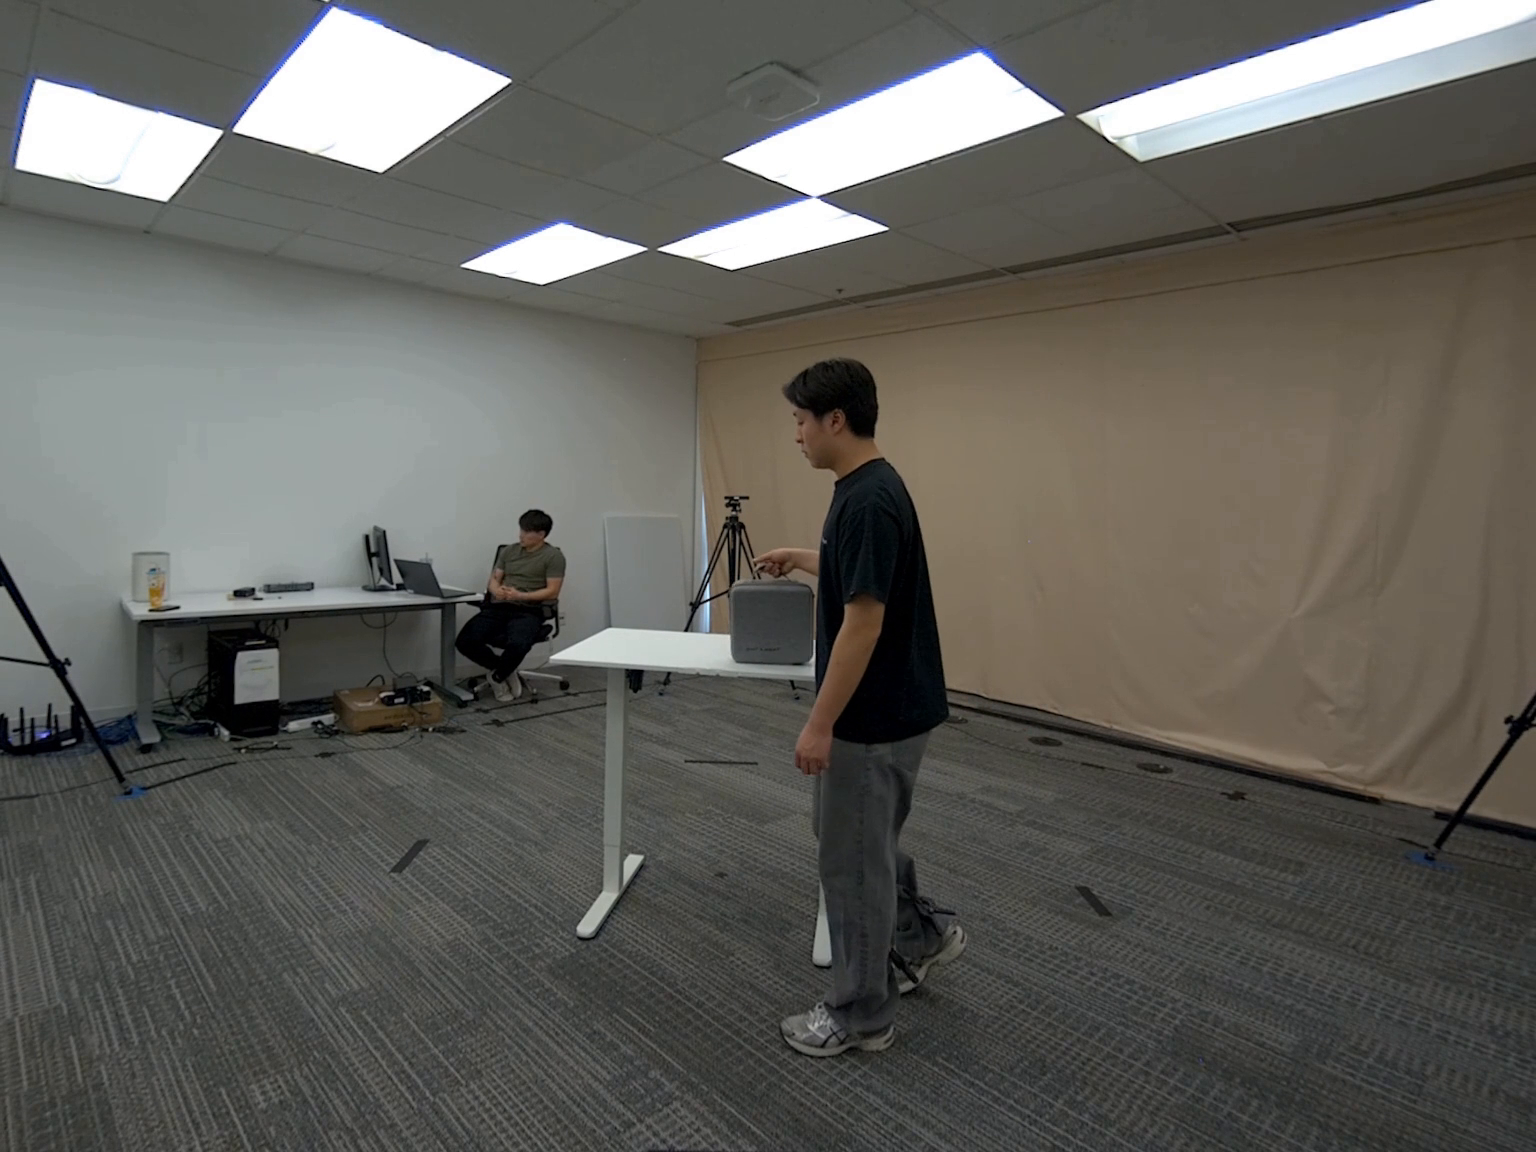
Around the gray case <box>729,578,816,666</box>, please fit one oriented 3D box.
[{"bbox_3d":[0.005,0.131,2.594,0.264,0.284,0.103,1,12,4],"label":"gray case"}]
